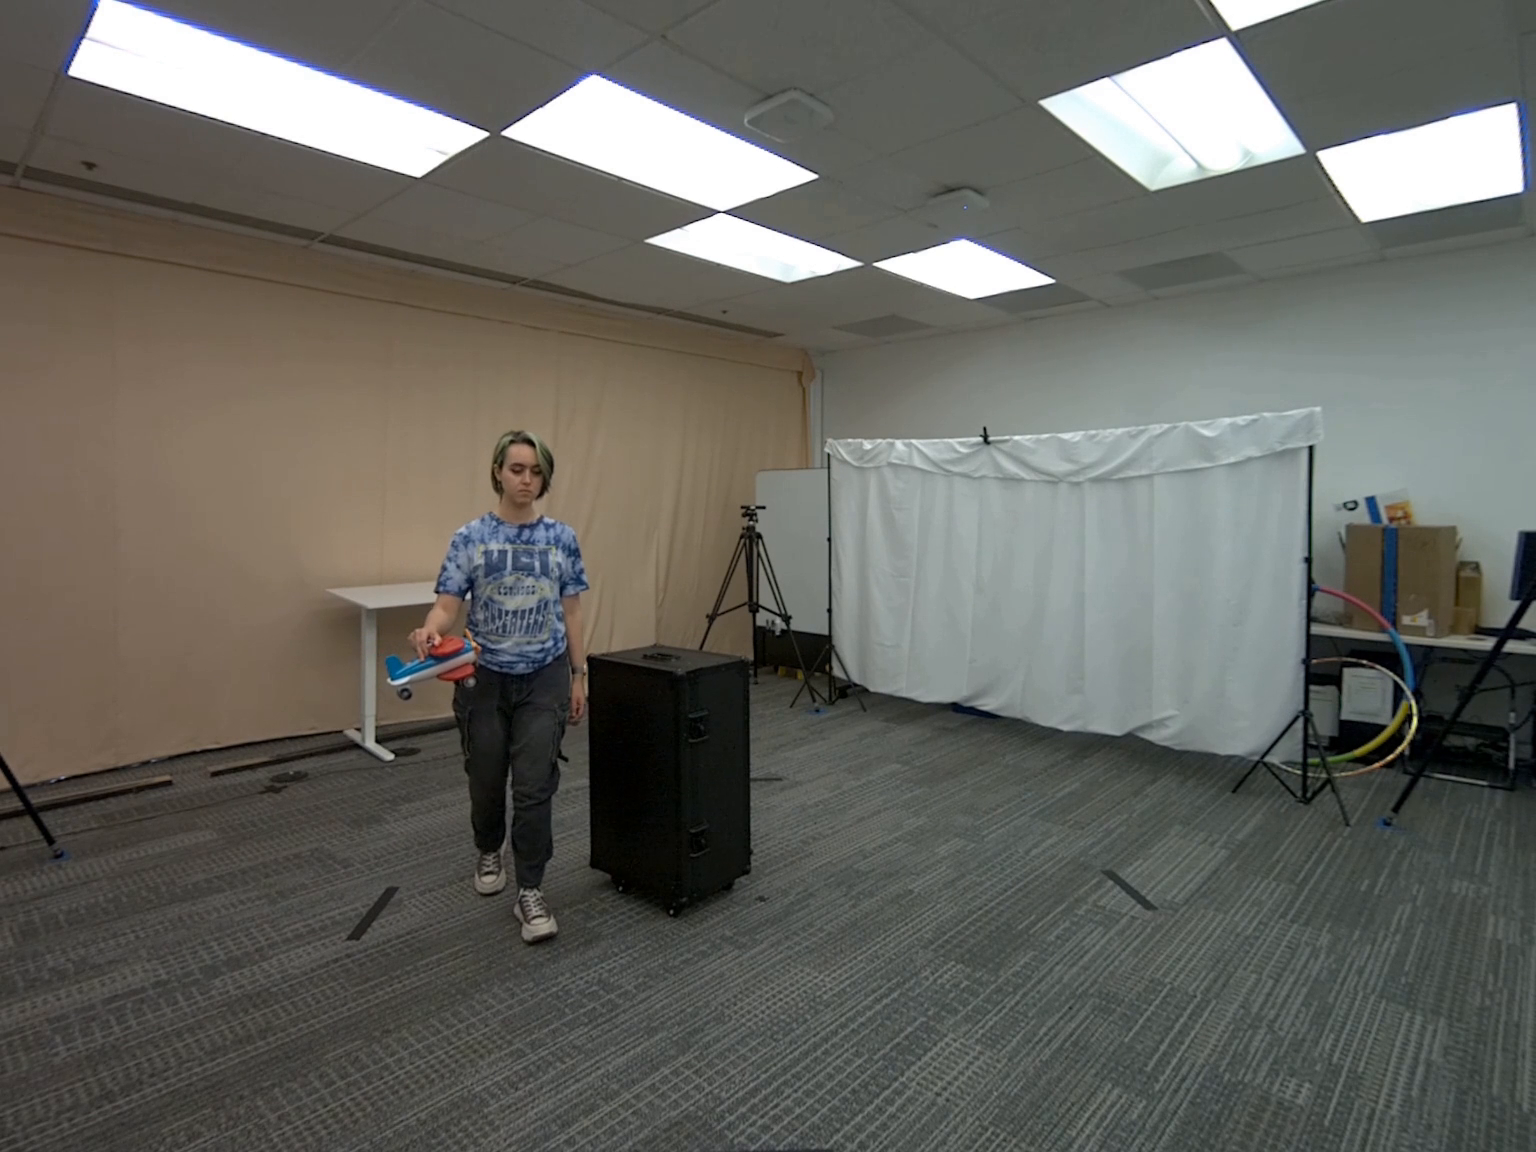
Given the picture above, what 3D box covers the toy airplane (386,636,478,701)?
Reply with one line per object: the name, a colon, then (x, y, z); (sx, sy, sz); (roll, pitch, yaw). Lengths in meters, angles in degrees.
toy airplane: (-0.949, 0.263, 2.423); (0.258, 0.156, 0.253); (-2, 4, 29)
